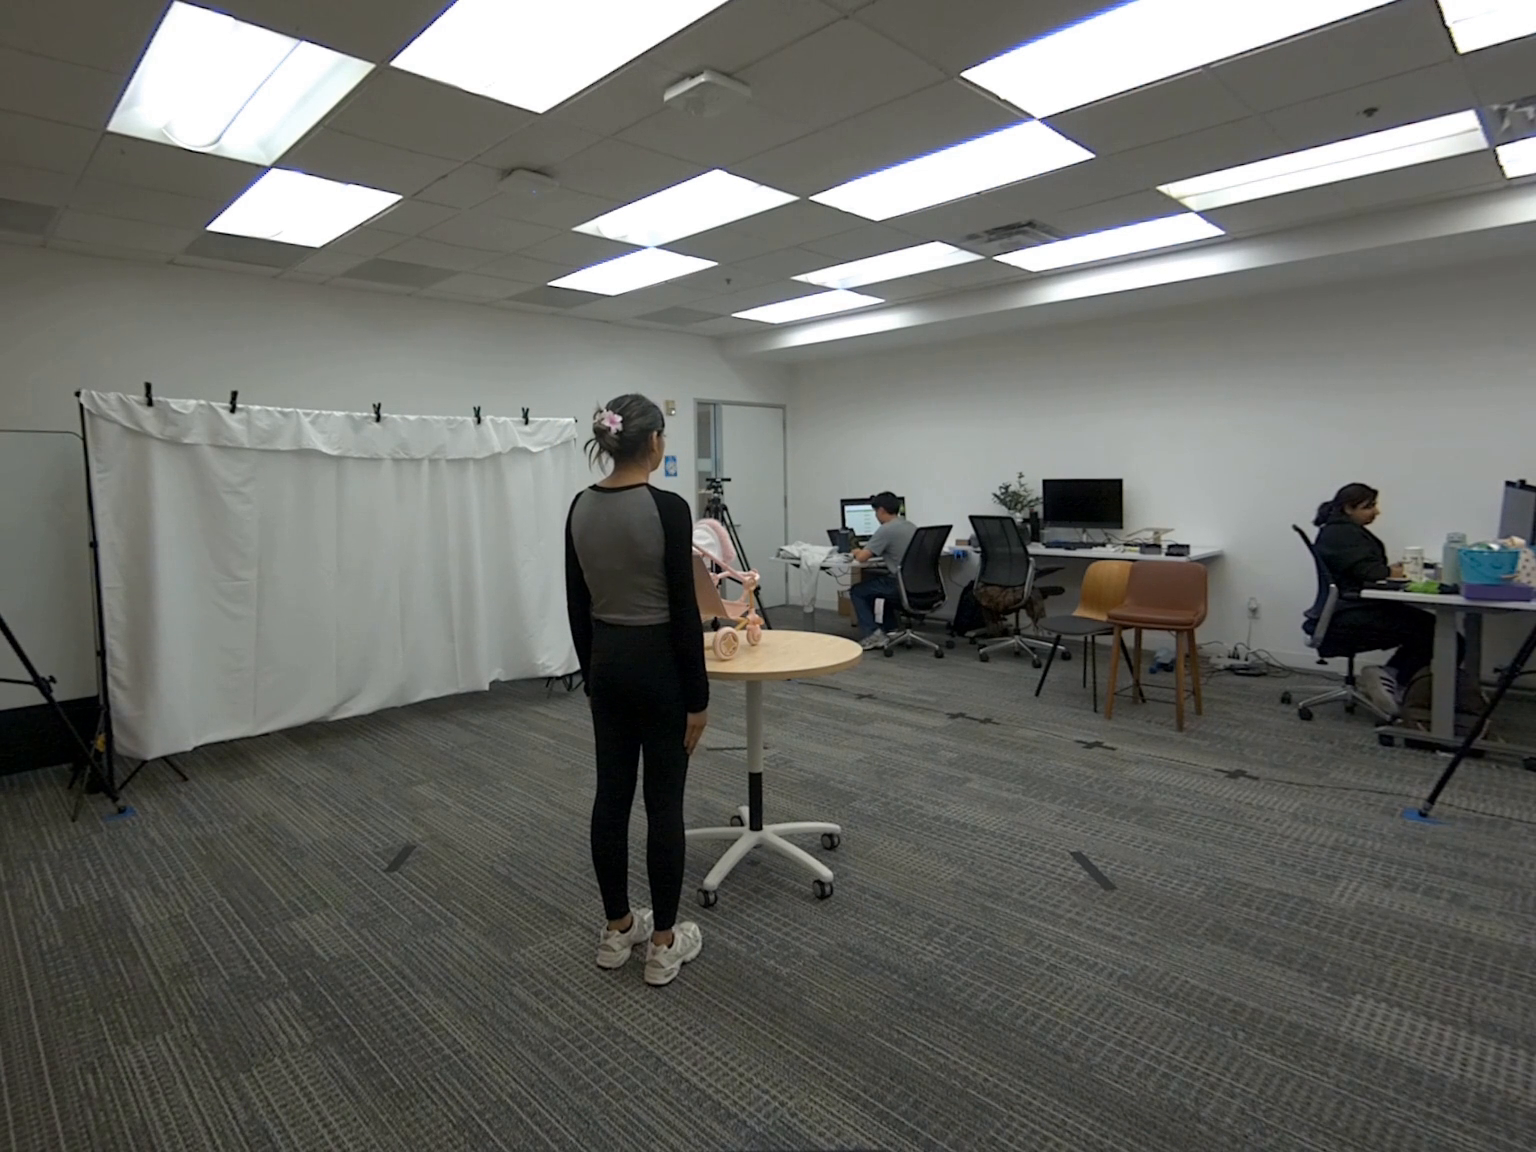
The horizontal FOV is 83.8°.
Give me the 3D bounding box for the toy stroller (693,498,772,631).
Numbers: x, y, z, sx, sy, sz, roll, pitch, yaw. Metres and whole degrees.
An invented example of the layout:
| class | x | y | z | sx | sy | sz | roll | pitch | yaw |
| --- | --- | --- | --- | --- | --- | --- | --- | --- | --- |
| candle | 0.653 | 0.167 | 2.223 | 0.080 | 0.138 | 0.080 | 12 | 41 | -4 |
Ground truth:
| class | x | y | z | sx | sy | sz | roll | pitch | yaw |
| --- | --- | --- | --- | --- | --- | --- | --- | --- | --- |
| toy stroller | -0.179 | 0.042 | 2.953 | 0.336 | 0.527 | 0.290 | -25 | 18 | -37 |
